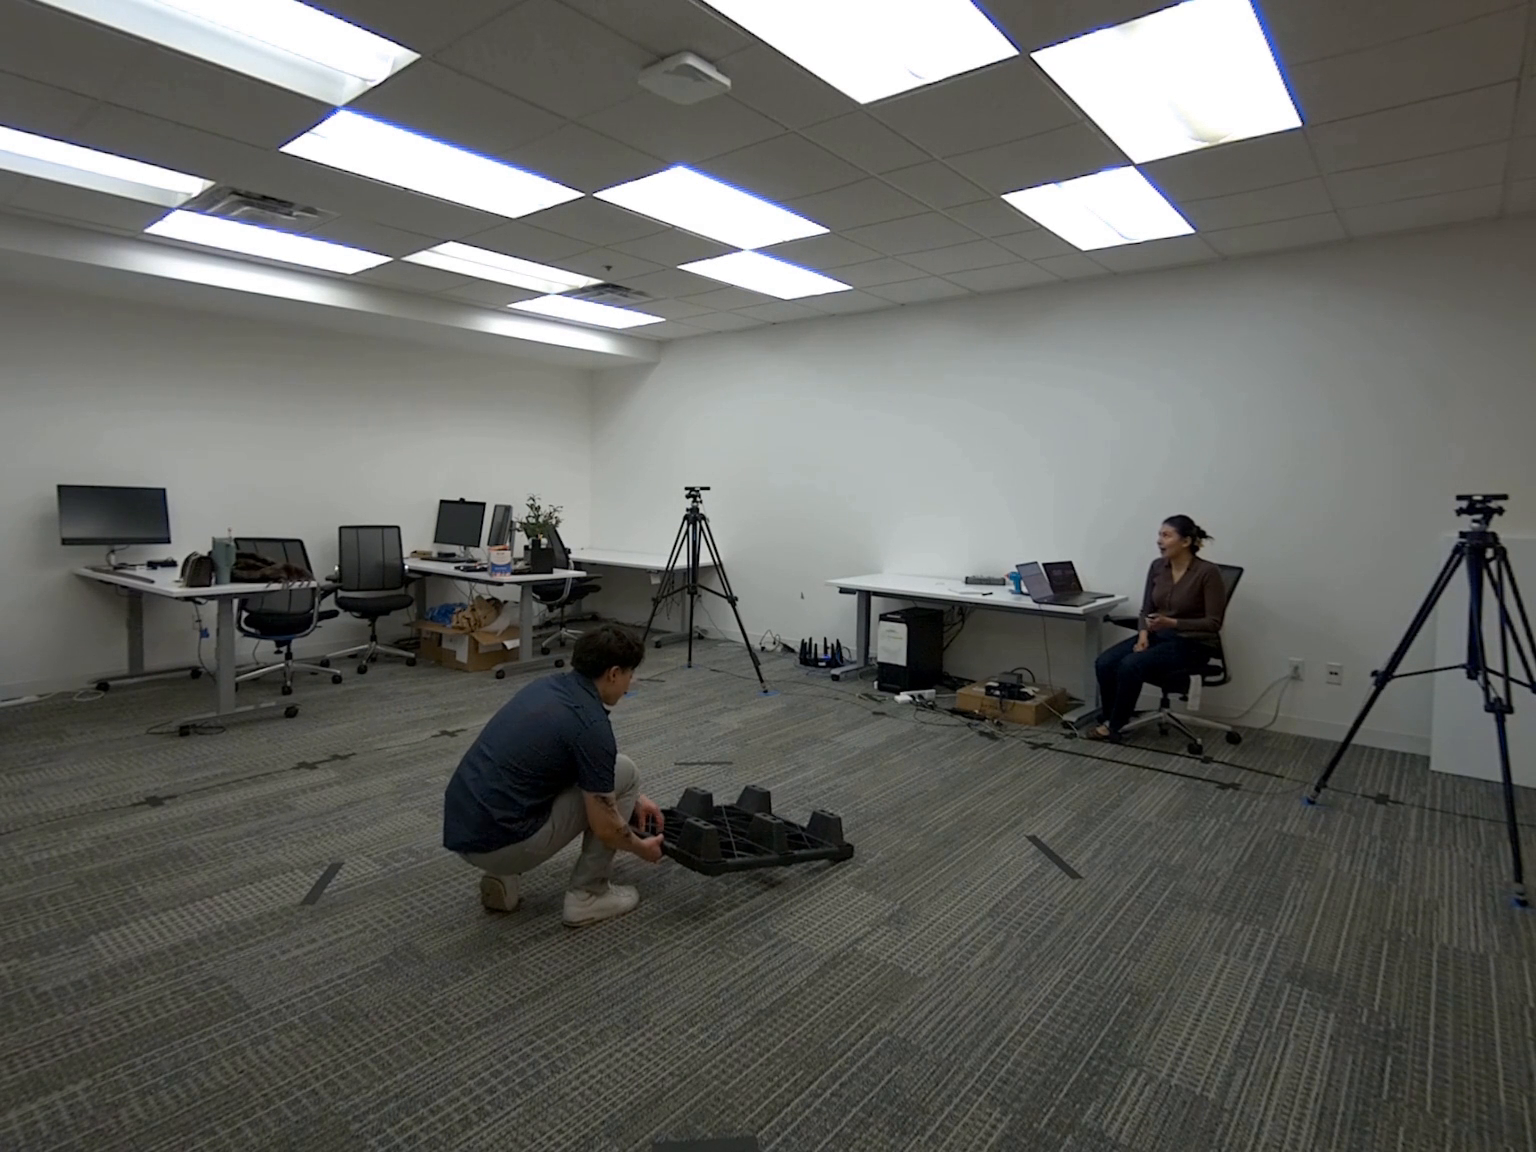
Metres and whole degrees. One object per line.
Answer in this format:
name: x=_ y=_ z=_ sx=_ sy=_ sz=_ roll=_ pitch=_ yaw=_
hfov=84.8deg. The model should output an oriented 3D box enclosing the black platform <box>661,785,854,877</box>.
black platform: x=-0.148 y=0.918 z=3.171 sx=0.626 sy=0.144 sz=0.776 roll=6 pitch=-4 yaw=44
